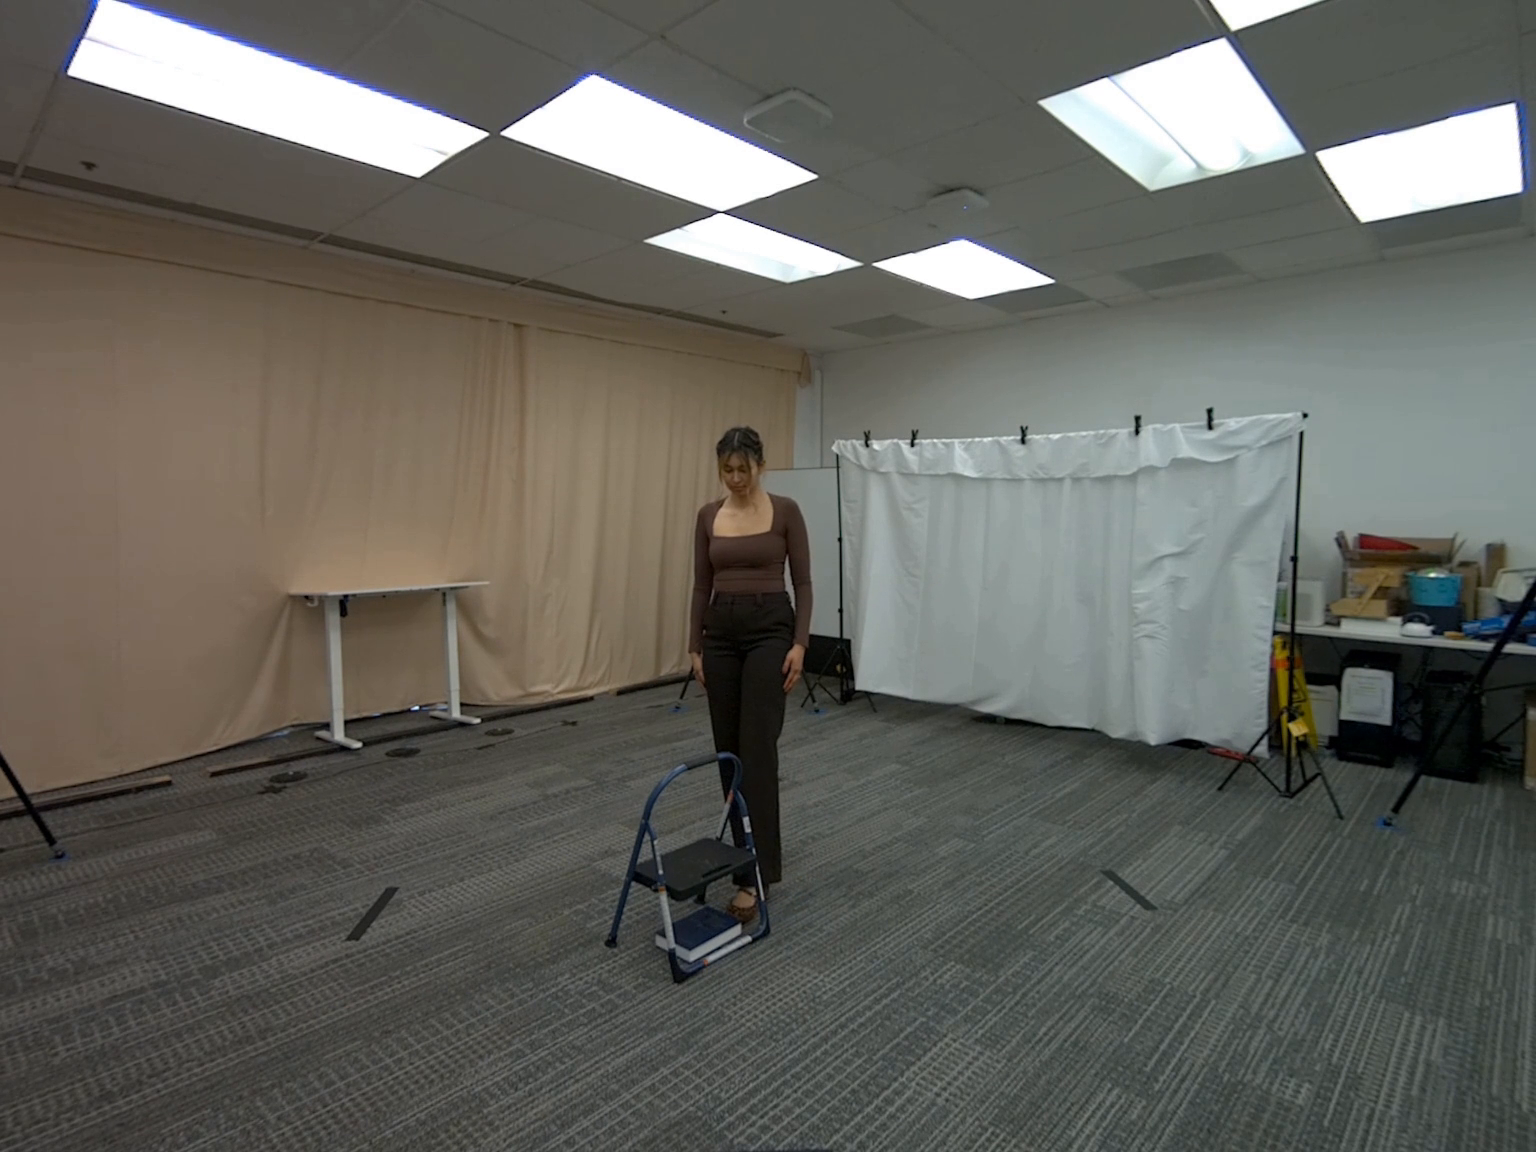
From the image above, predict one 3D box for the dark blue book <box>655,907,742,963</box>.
[{"bbox_3d":[-0.223,1.149,2.705,0.169,0.045,0.238,4,6,41],"label":"dark blue book"}]
